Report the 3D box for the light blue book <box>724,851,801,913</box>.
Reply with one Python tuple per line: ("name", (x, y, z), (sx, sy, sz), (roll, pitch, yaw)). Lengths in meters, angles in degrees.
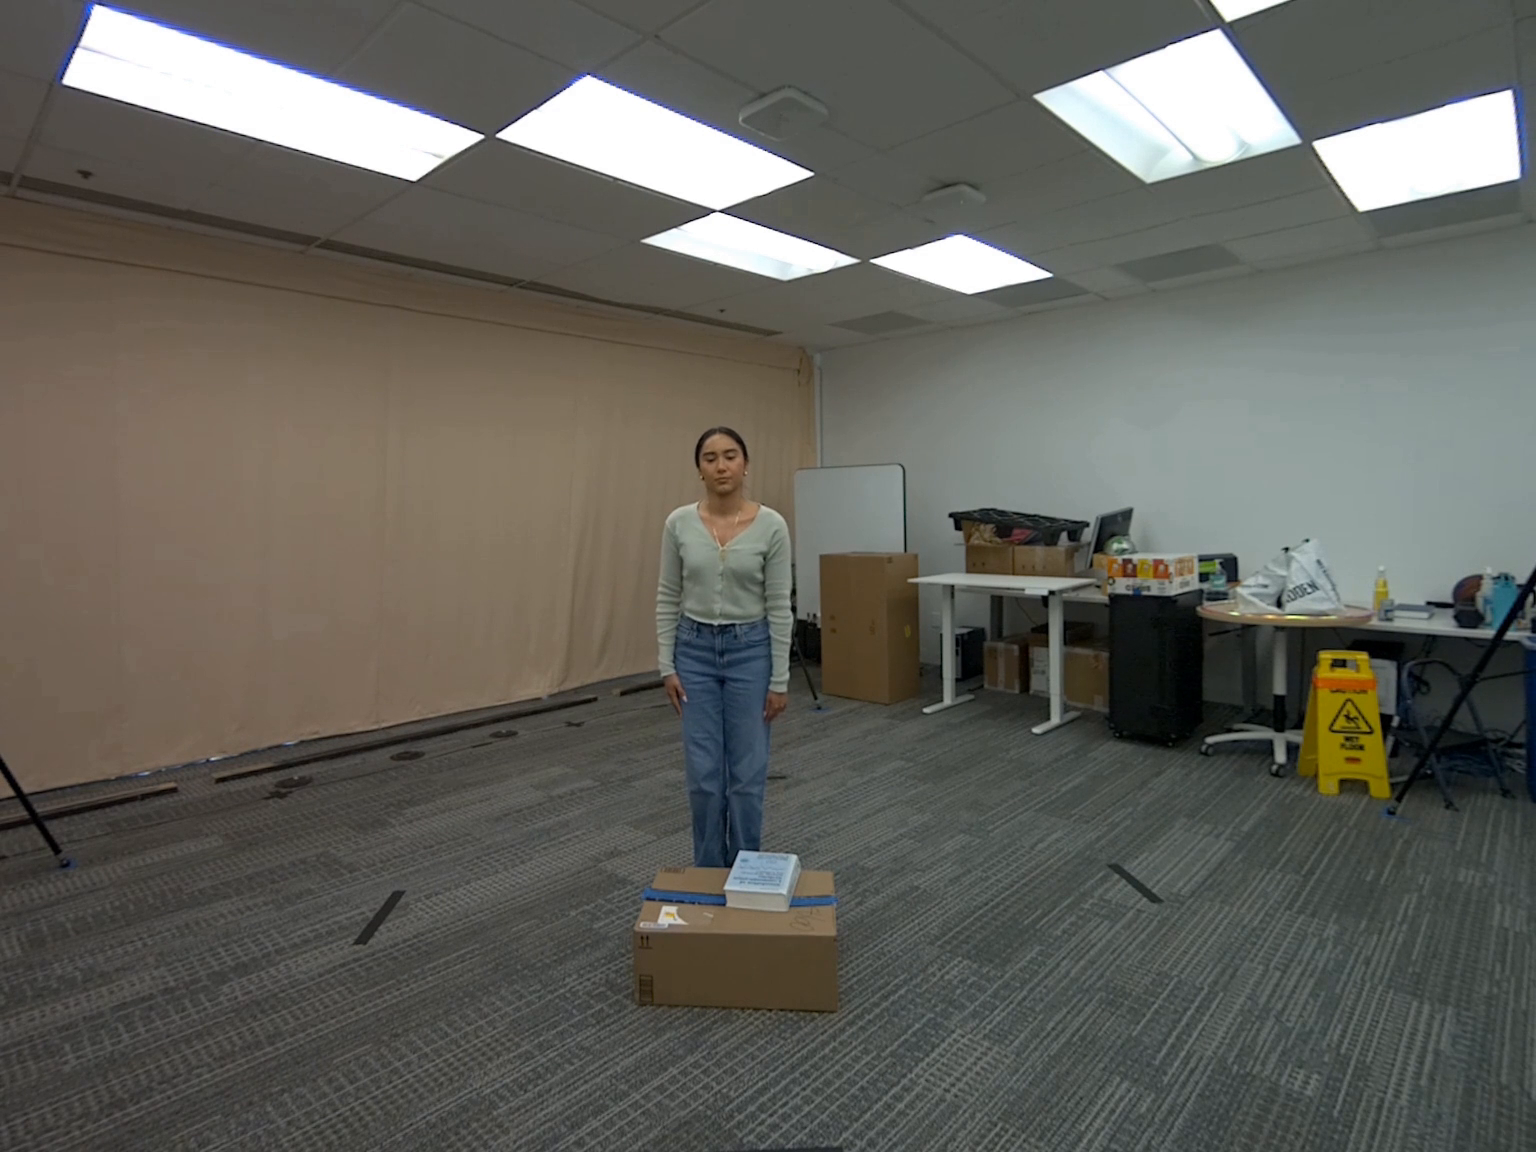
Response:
("light blue book", (-0.013, 0.929, 2.589), (0.194, 0.059, 0.258), (-1, 6, 11))
